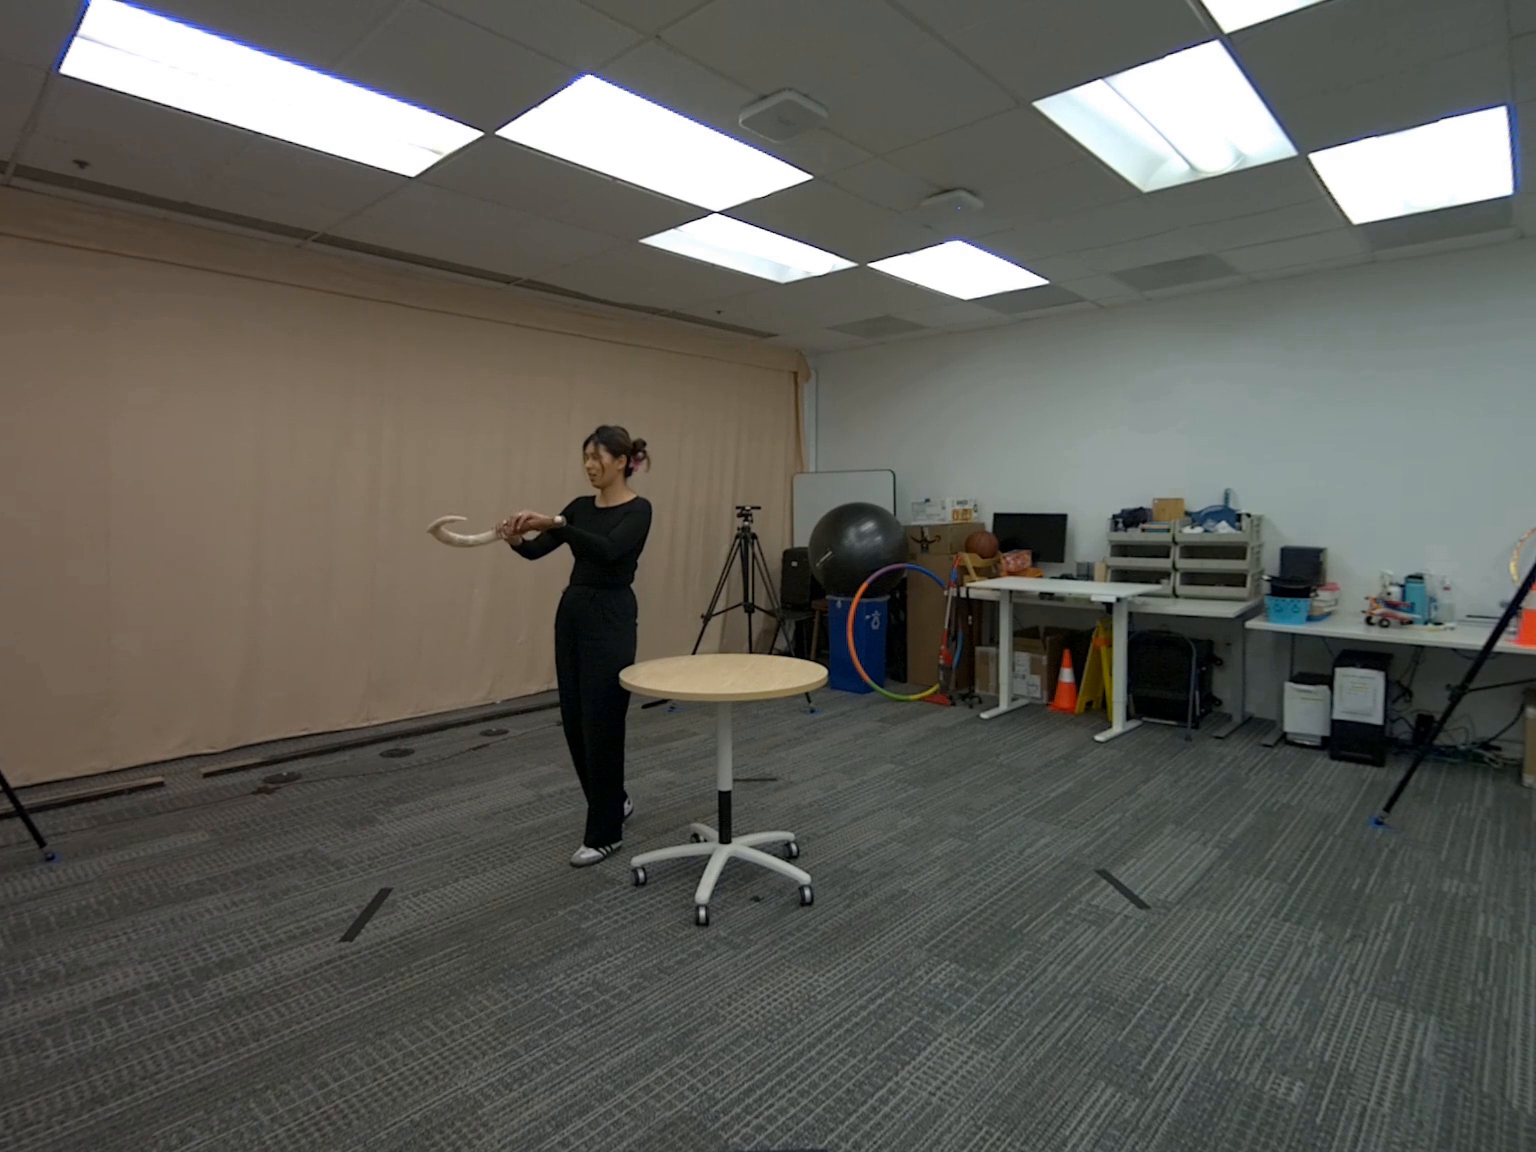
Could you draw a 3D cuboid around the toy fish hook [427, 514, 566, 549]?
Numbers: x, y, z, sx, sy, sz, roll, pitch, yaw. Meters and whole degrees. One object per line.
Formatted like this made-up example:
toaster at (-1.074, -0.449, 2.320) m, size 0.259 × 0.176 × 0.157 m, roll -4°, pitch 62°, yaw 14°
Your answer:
toy fish hook at (-0.947, -0.175, 2.947) m, size 0.512 × 0.049 × 0.219 m, roll -8°, pitch -18°, yaw 11°
